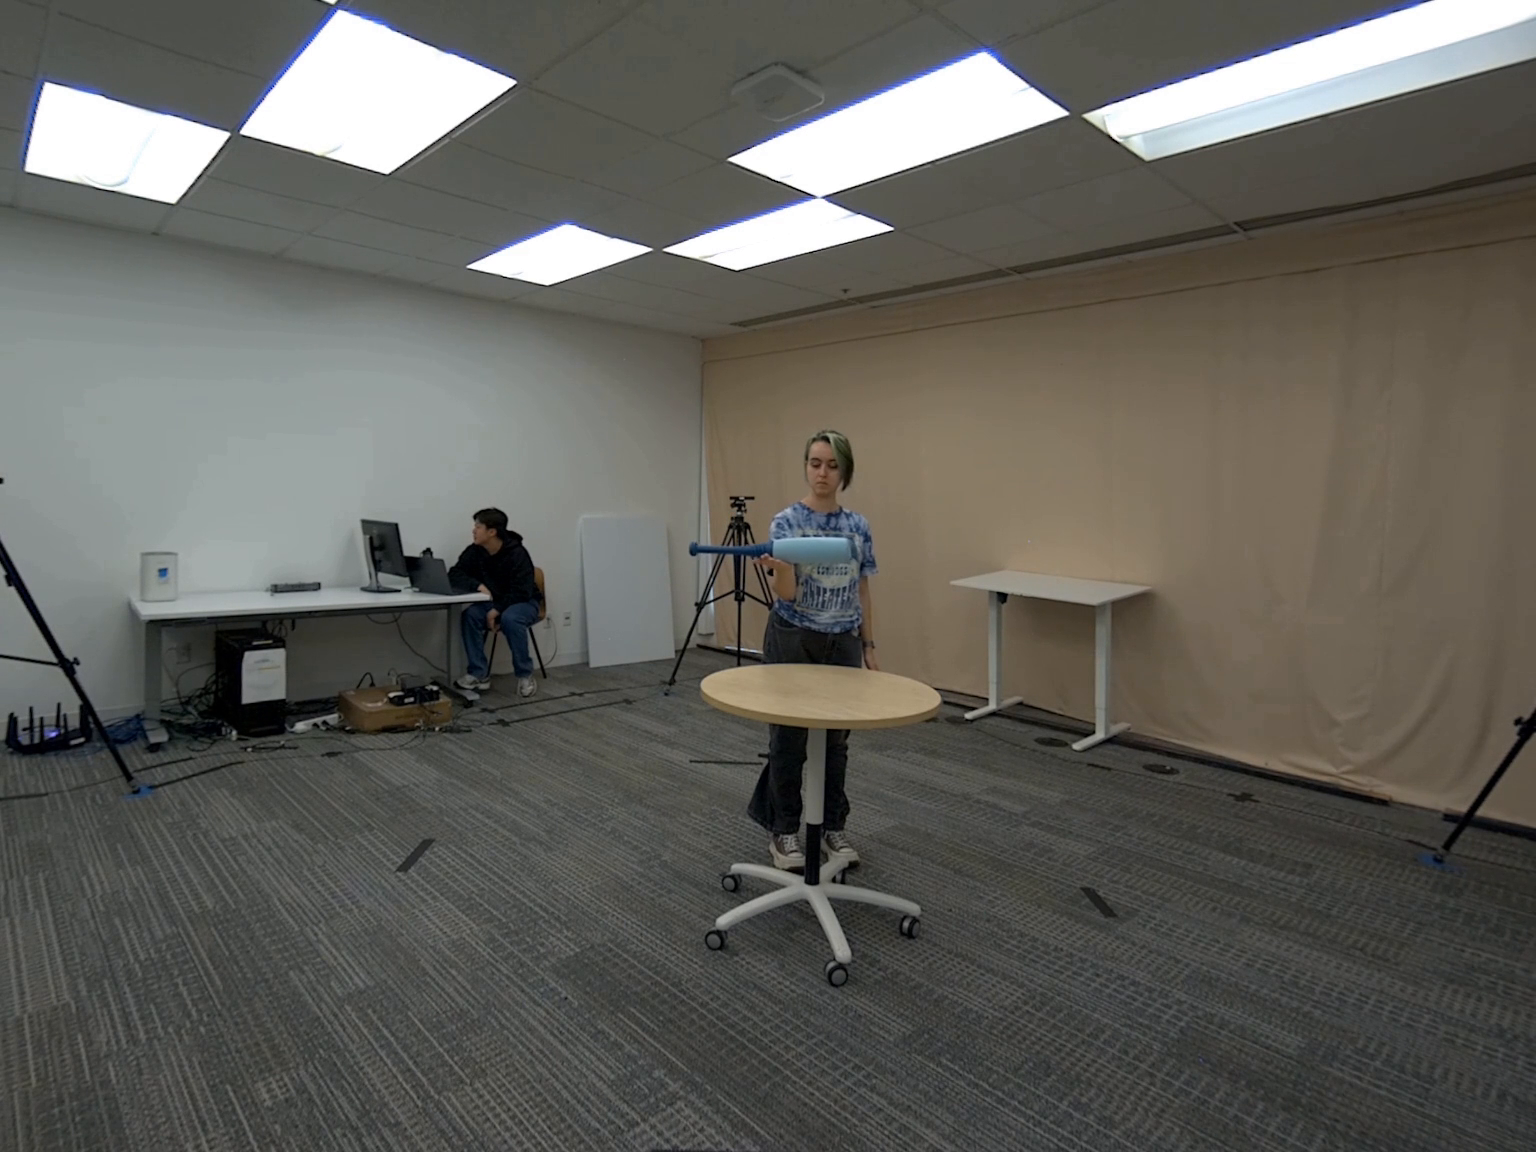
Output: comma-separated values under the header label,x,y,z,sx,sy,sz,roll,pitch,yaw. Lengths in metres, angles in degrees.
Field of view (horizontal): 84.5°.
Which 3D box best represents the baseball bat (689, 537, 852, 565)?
label,x,y,z,sx,sy,sz,roll,pitch,yaw
baseball bat,0.001,-0.081,2.795,0.548,0.089,0.088,1,4,11
